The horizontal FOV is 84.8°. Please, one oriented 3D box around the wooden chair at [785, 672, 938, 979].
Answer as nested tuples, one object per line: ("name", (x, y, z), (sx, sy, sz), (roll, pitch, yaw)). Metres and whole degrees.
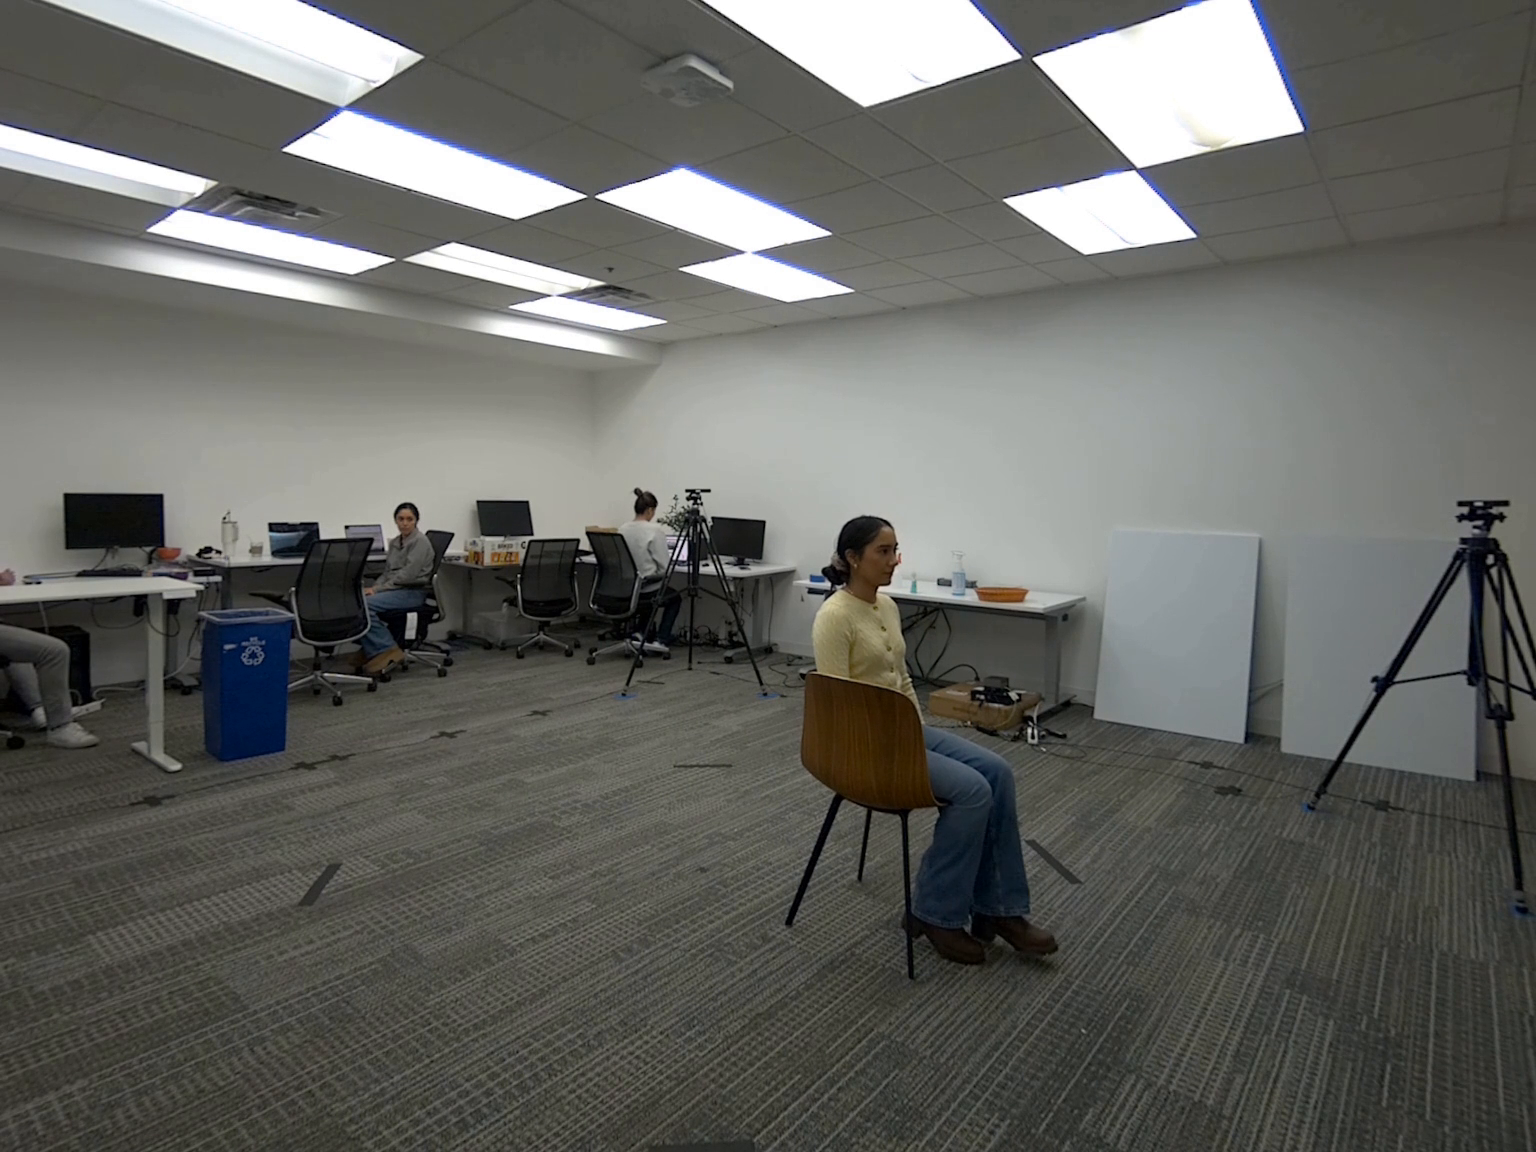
("wooden chair", (0.374, 0.697, 2.734), (0.494, 0.872, 0.509), (5, 9, 39))
